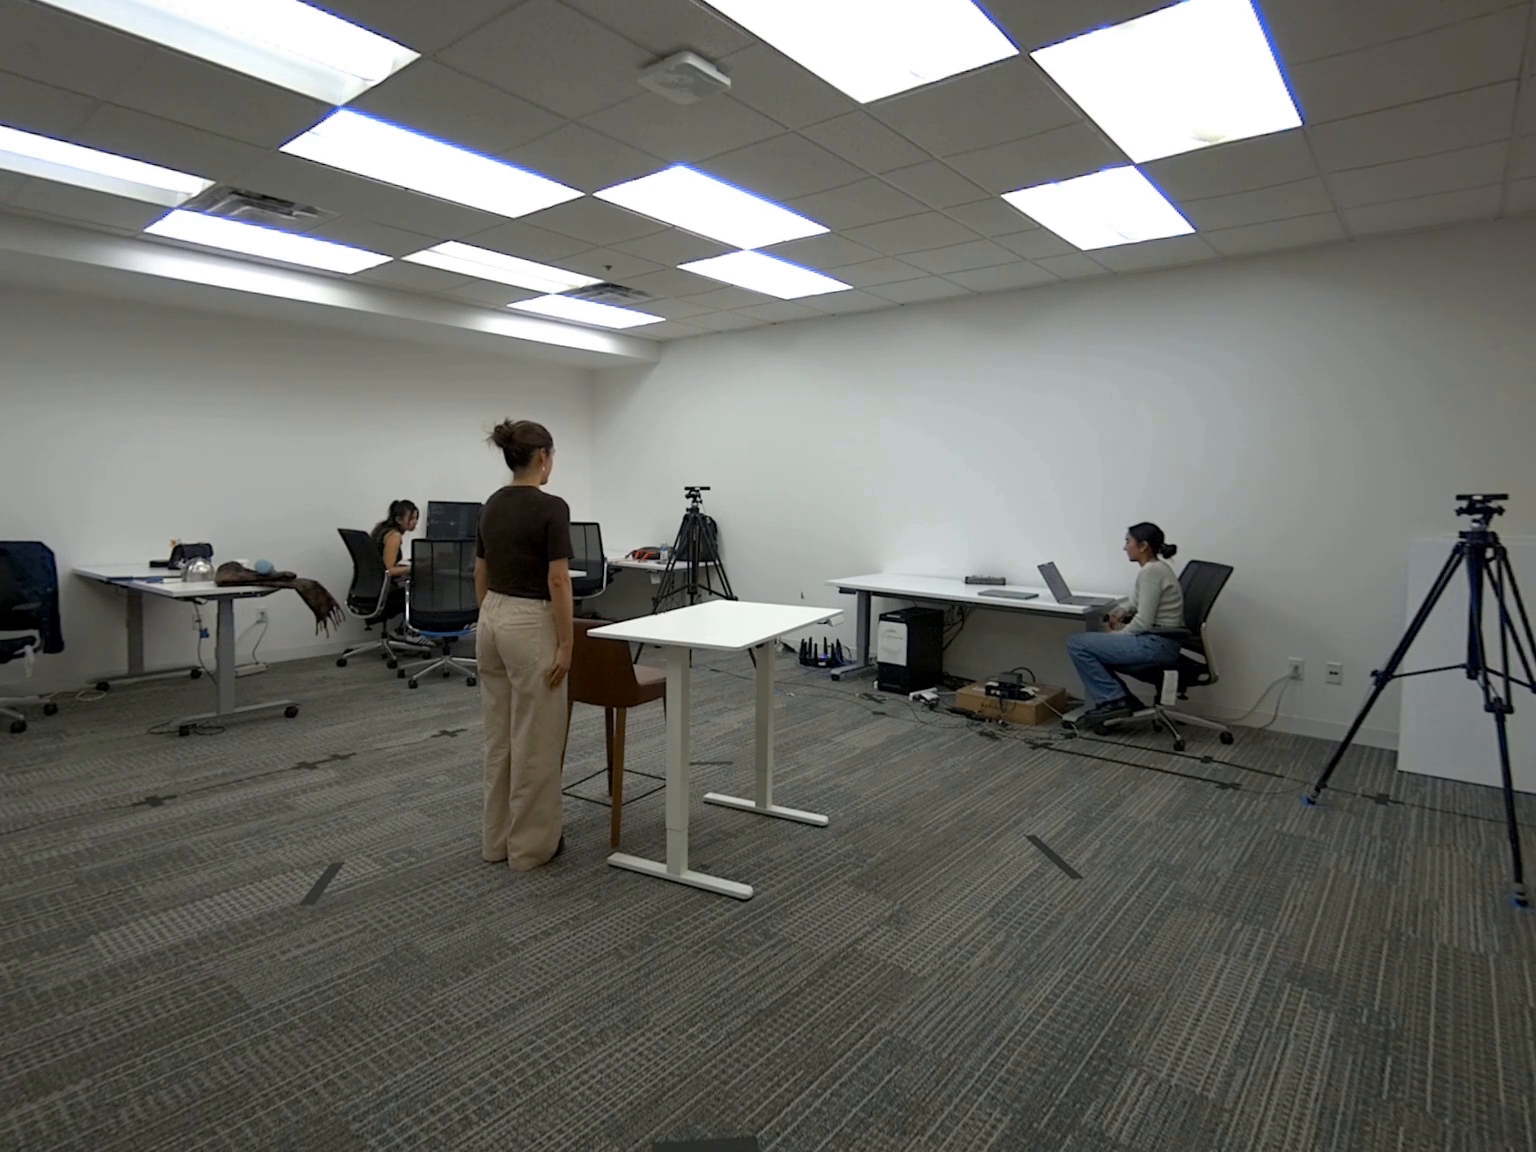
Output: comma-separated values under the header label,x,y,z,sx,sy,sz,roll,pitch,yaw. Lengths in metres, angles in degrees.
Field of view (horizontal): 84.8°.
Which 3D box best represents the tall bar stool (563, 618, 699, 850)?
label,x,y,z,sx,sy,sz,roll,pitch,yaw
tall bar stool,-0.655,0.584,3.527,0.470,0.887,0.456,2,4,31
